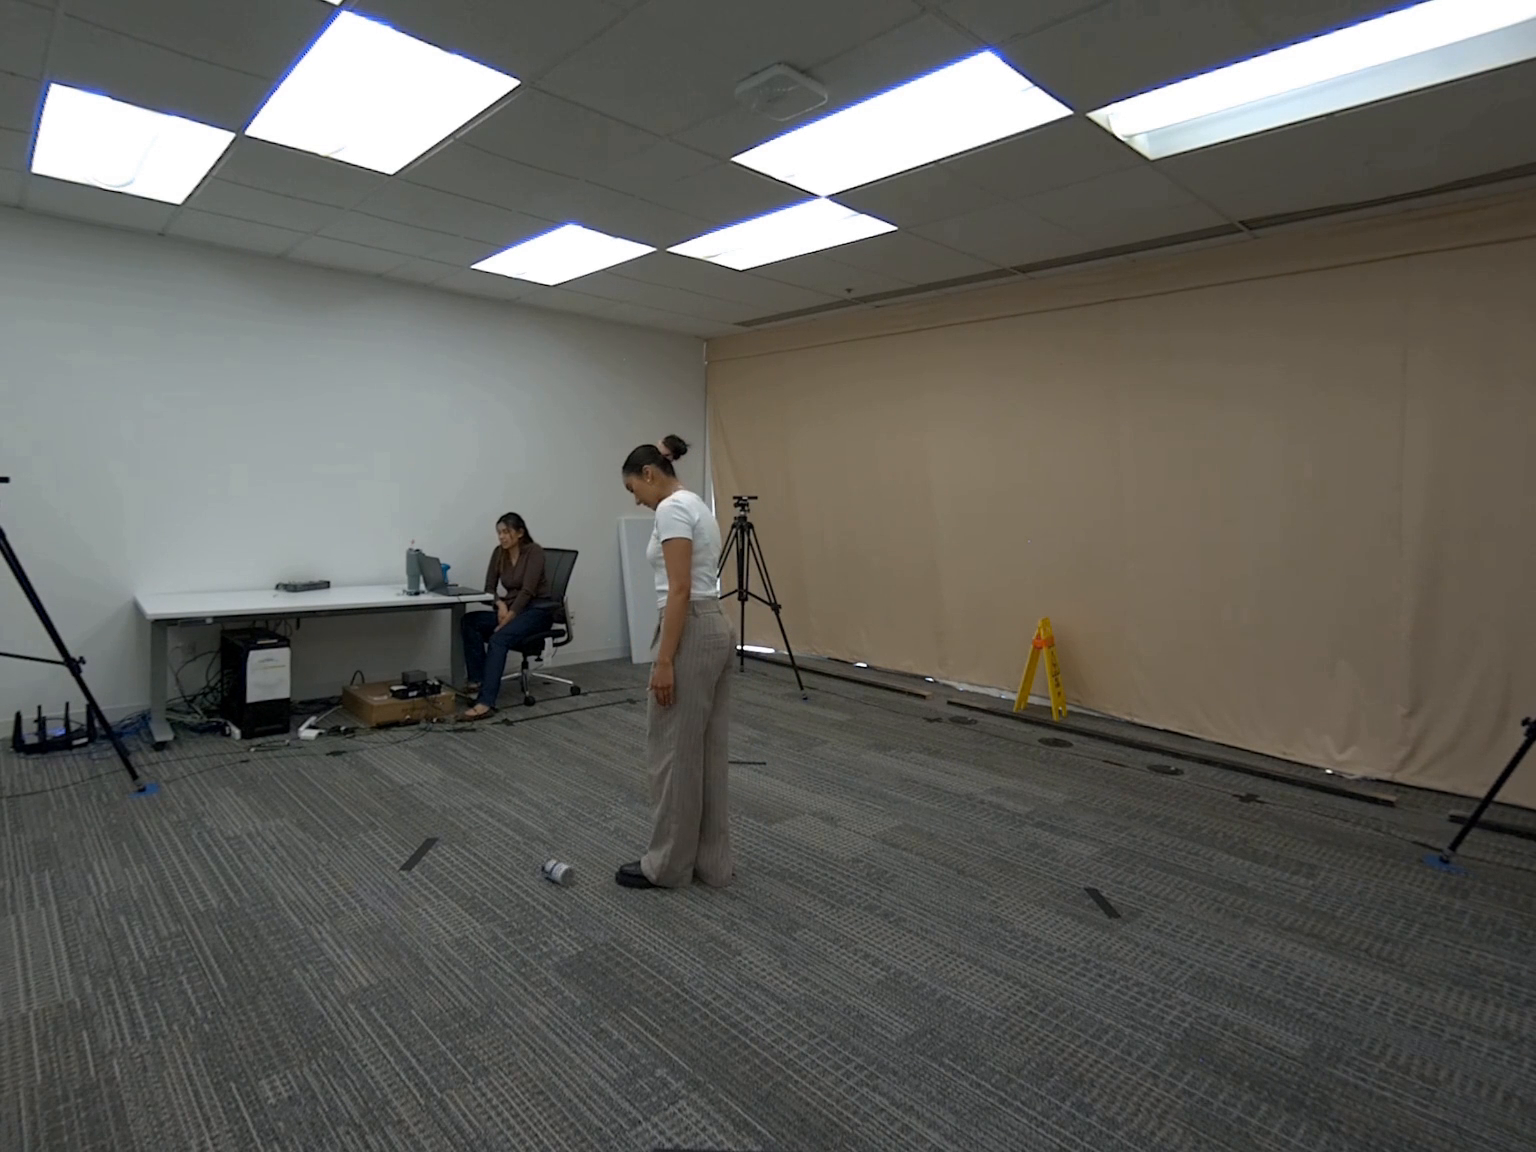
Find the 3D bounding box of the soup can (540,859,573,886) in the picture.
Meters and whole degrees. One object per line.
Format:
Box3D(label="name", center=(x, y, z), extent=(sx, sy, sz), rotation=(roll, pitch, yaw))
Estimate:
Box3D(label="soup can", center=(-0.751, 1.051, 3.023), extent=(0.124, 0.067, 0.065), rotation=(-3, 0, 39))
